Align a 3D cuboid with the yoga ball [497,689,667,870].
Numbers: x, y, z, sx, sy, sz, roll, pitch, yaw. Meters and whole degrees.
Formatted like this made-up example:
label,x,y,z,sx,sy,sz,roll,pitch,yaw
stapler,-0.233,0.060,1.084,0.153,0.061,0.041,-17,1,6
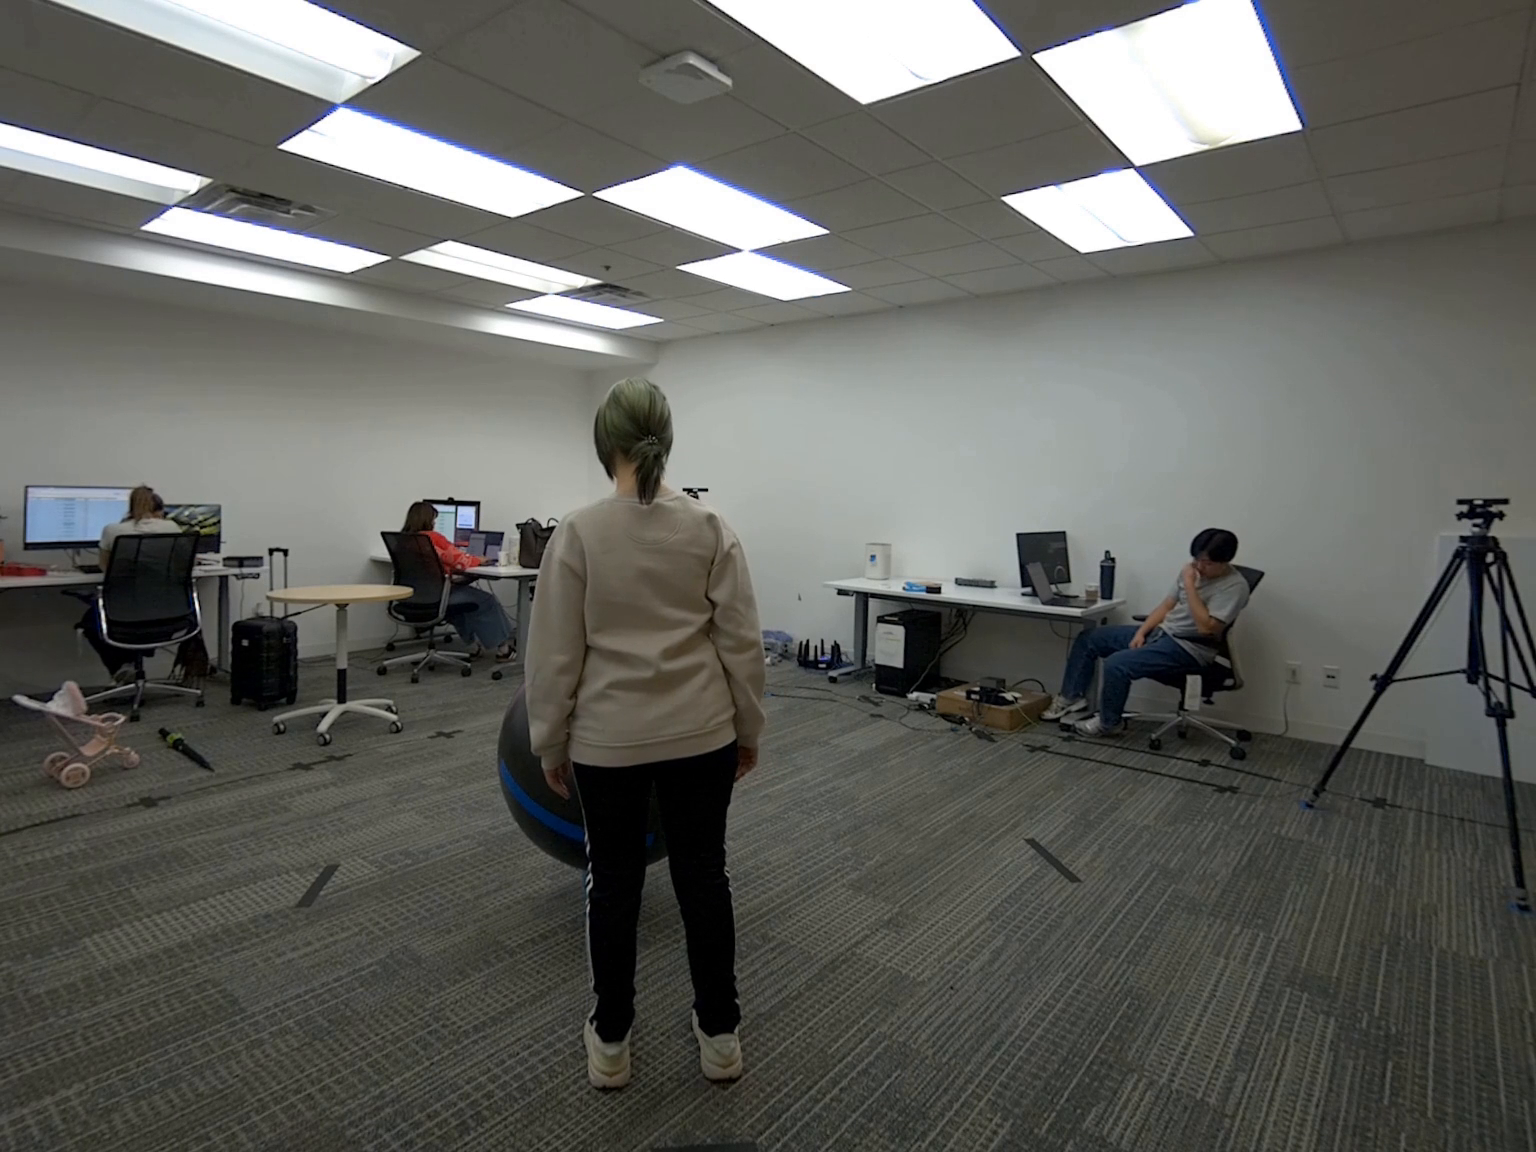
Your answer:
label,x,y,z,sx,sy,sz,roll,pitch,yaw
yoga ball,-0.525,0.580,2.830,0.757,0.755,0.762,1,4,-2
